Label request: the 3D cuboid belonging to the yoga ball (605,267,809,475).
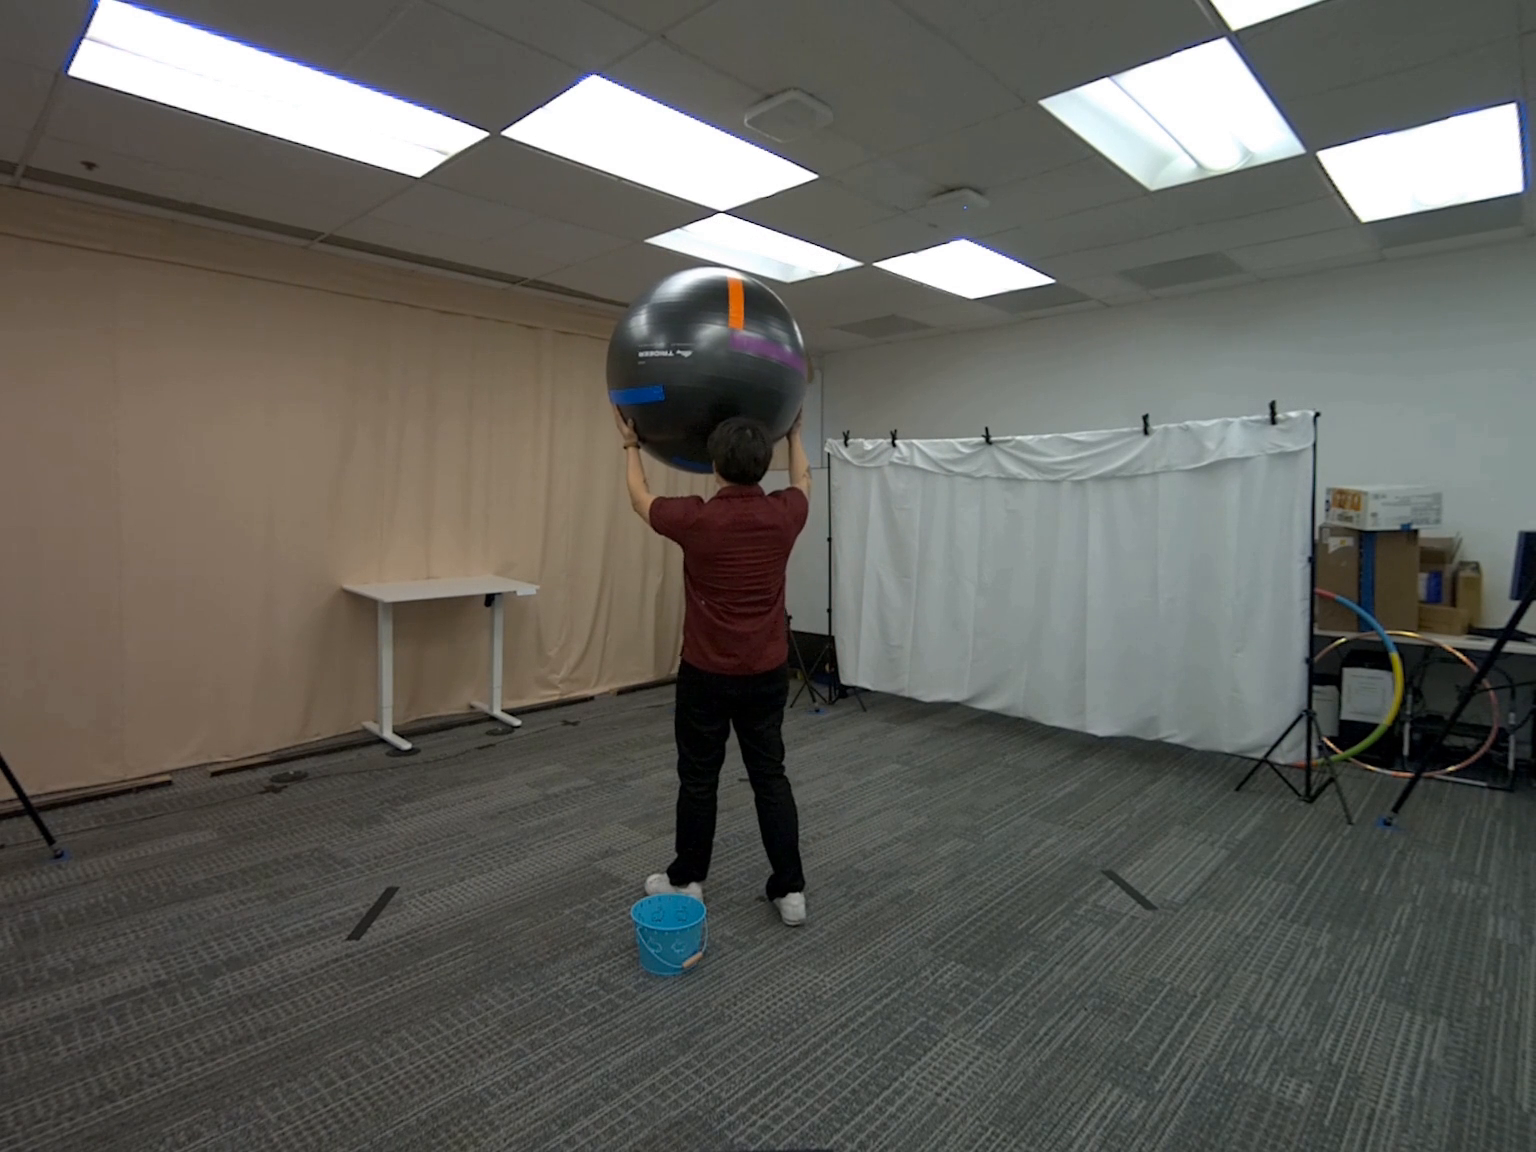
[{"bbox_3d":[-0.236,-0.762,3.175,0.757,0.756,0.760,0,4,-2],"label":"yoga ball"}]
